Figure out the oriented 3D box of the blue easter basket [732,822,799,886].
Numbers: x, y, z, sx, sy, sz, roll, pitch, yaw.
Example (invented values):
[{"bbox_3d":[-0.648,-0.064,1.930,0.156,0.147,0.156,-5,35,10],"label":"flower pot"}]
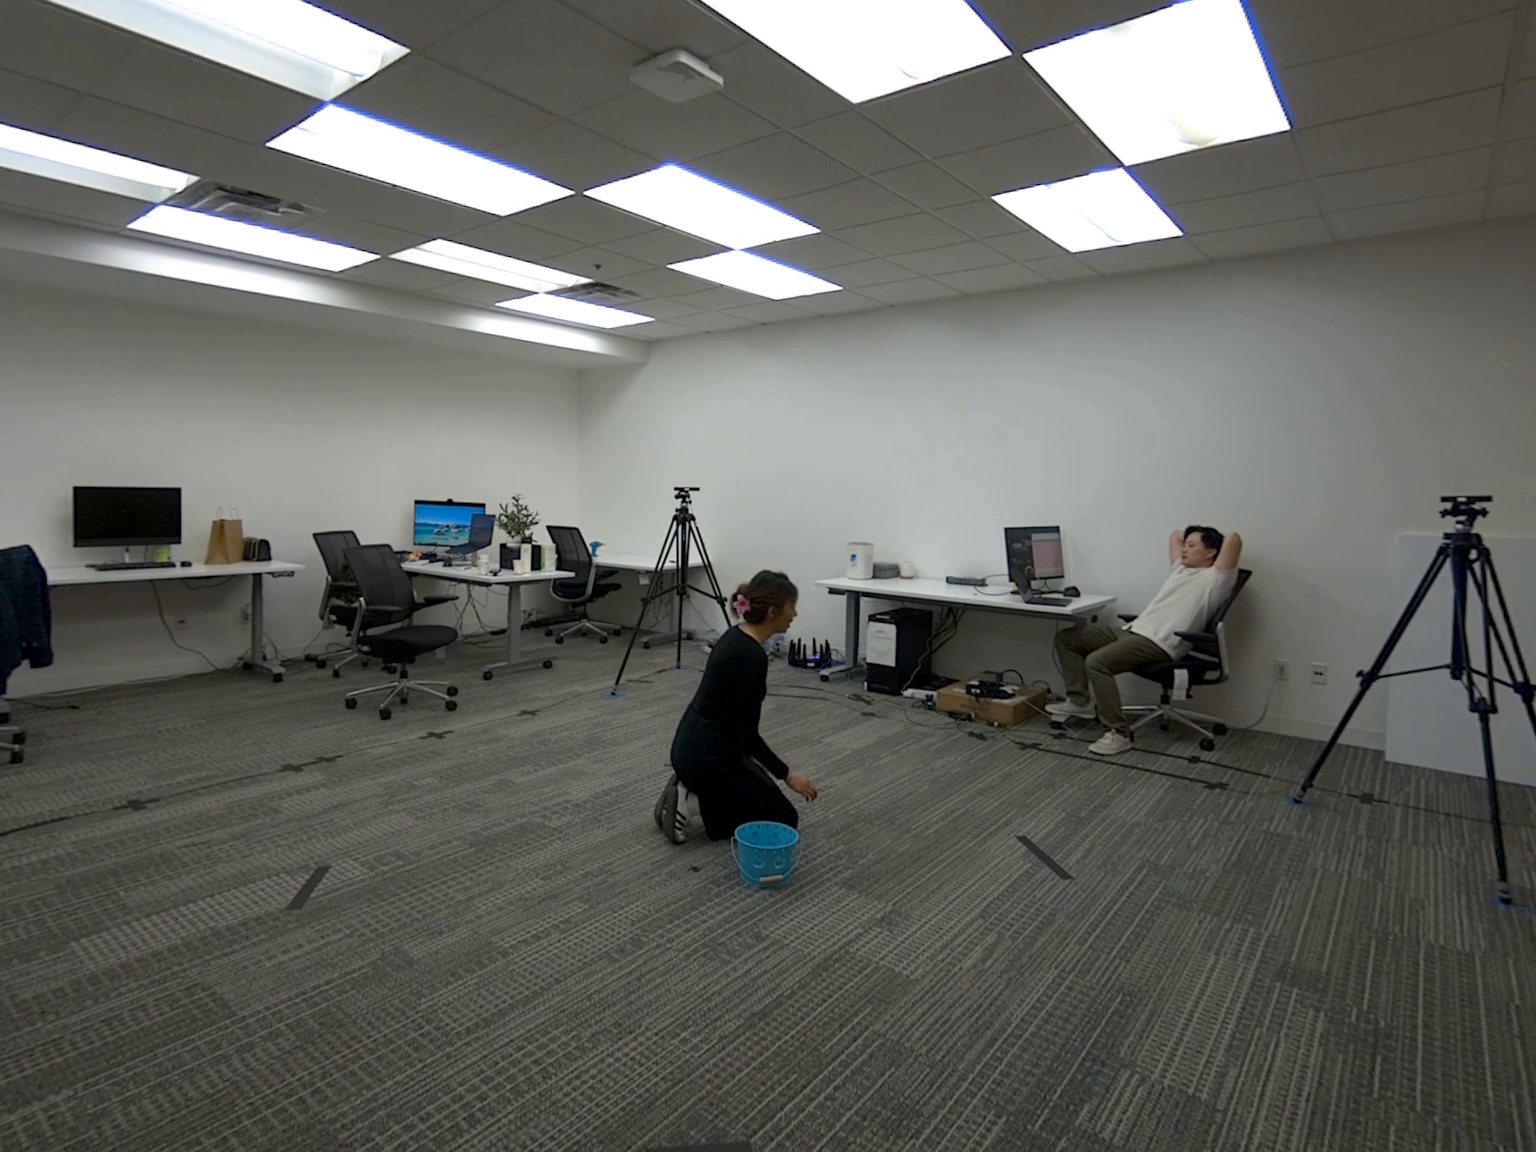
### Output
[{"bbox_3d":[-0.022,0.997,3.054,0.243,0.155,0.245,1,5,-2],"label":"blue easter basket"}]
